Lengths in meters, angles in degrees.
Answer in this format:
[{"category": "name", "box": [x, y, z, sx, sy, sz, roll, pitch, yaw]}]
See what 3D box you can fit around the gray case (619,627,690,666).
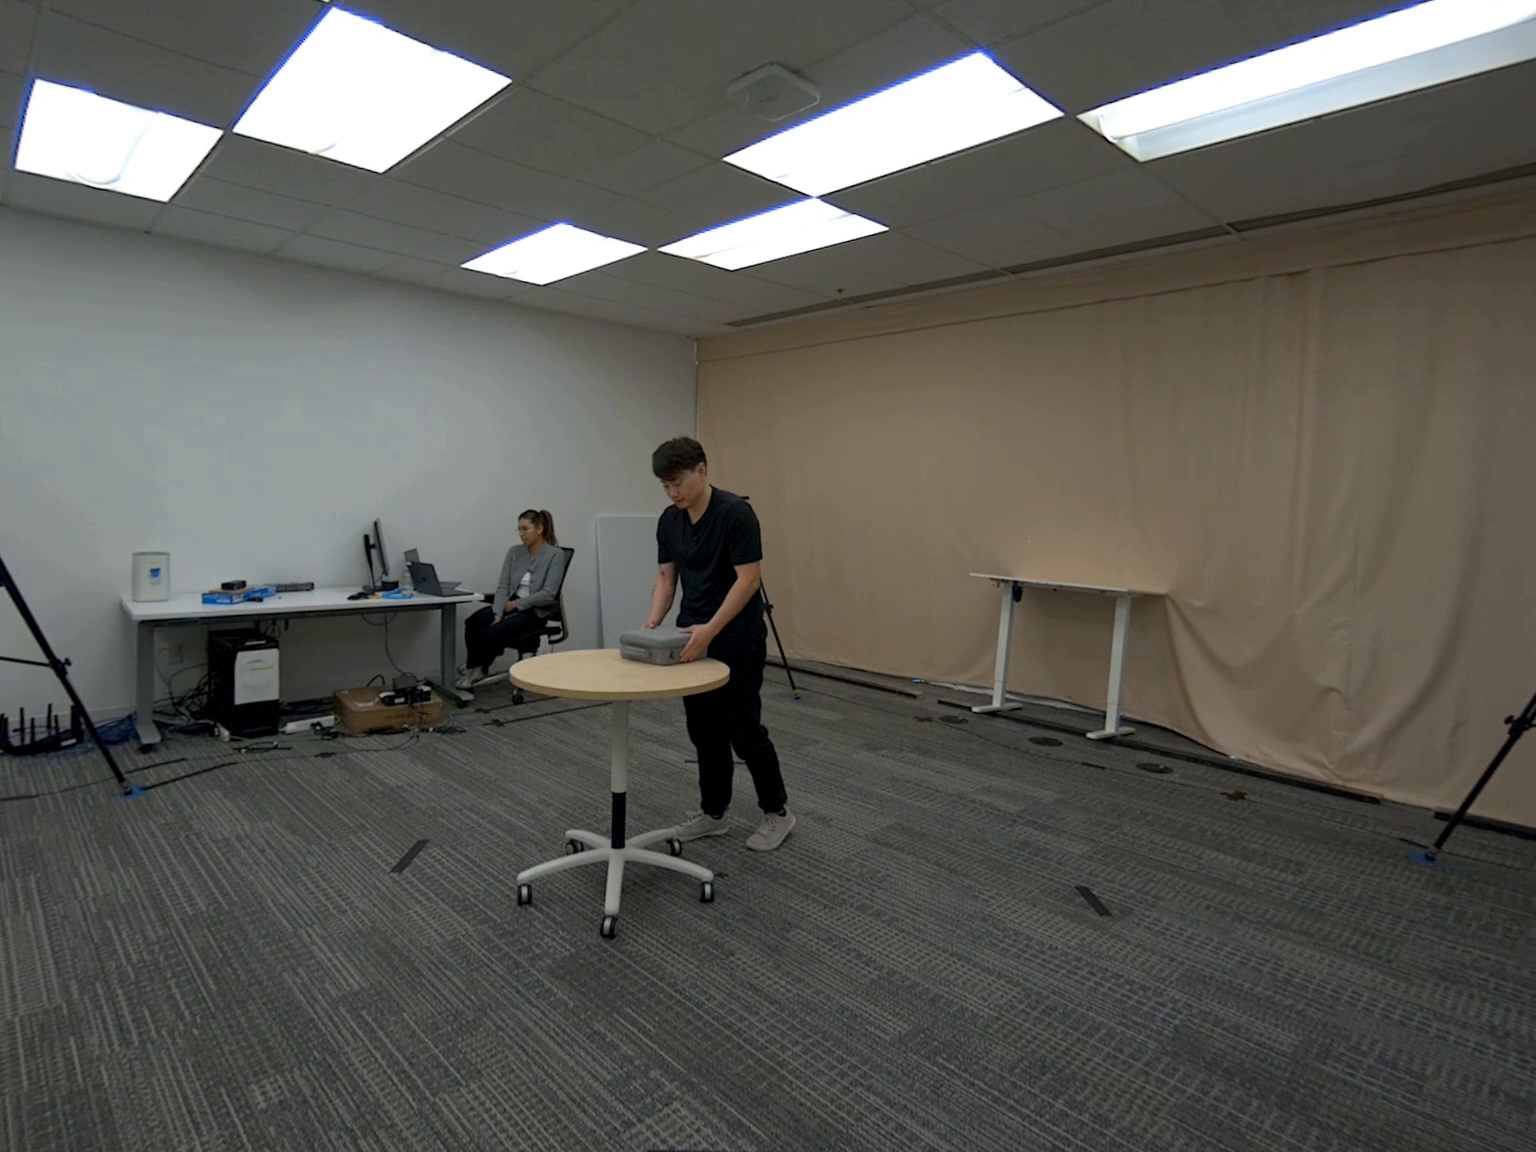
[{"category": "gray case", "box": [-0.403, 0.258, 3.157, 0.263, 0.104, 0.255, 7, 7, 40]}]
